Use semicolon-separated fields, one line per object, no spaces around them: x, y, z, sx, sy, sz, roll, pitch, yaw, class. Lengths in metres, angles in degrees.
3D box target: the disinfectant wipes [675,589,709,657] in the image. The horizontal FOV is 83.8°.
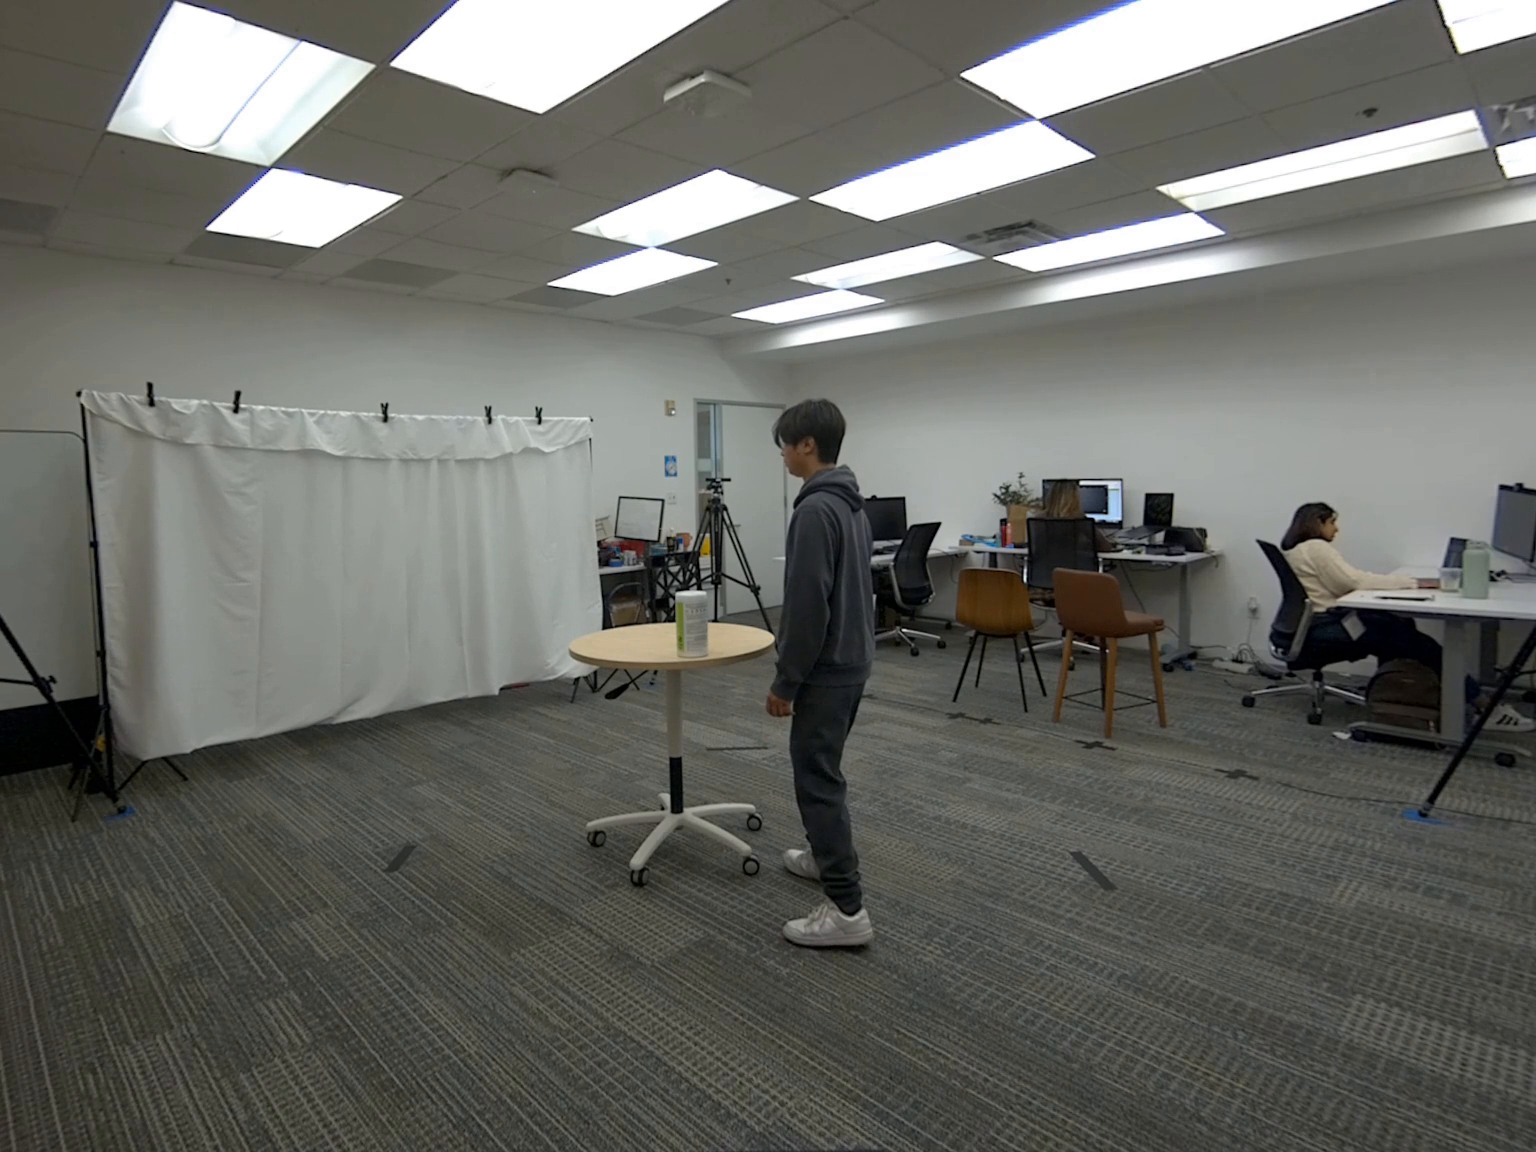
-0.248;0.158;2.901;0.118;0.216;0.119;-3;8;-1;disinfectant wipes
